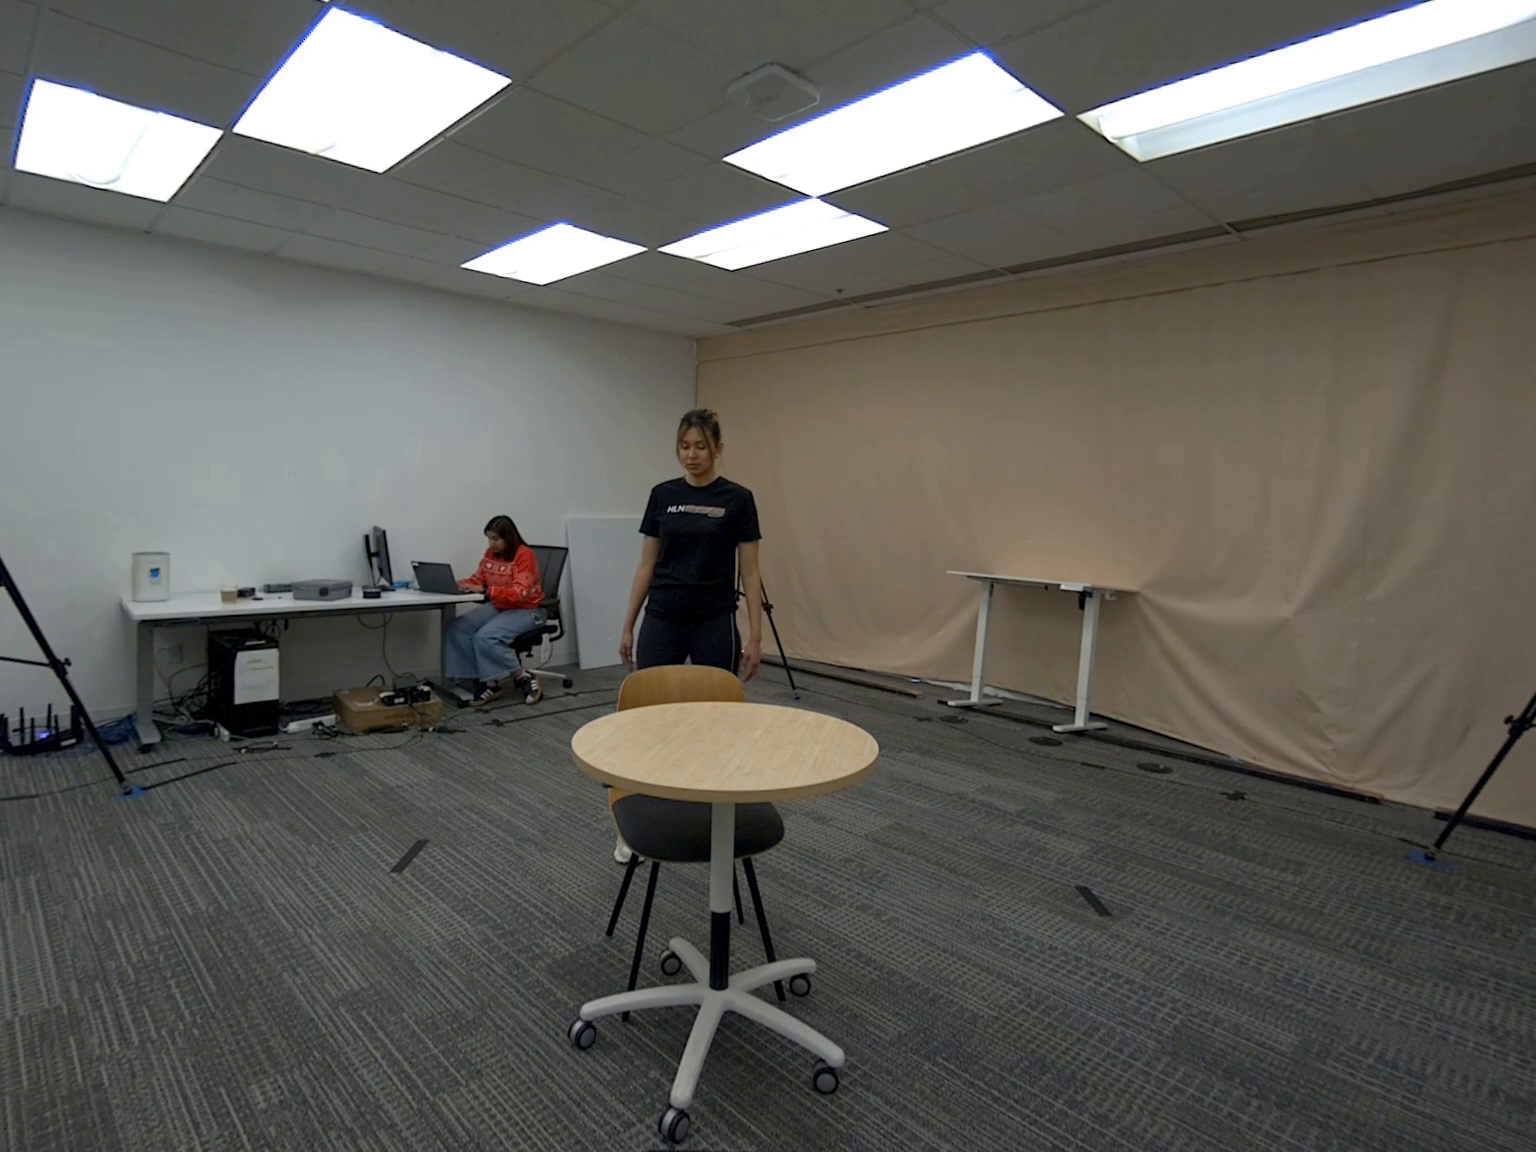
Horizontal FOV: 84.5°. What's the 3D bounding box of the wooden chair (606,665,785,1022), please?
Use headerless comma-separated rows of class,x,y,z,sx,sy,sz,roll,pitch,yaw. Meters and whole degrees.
wooden chair,-0.222,0.733,2.456,0.472,0.877,0.529,0,0,-16
